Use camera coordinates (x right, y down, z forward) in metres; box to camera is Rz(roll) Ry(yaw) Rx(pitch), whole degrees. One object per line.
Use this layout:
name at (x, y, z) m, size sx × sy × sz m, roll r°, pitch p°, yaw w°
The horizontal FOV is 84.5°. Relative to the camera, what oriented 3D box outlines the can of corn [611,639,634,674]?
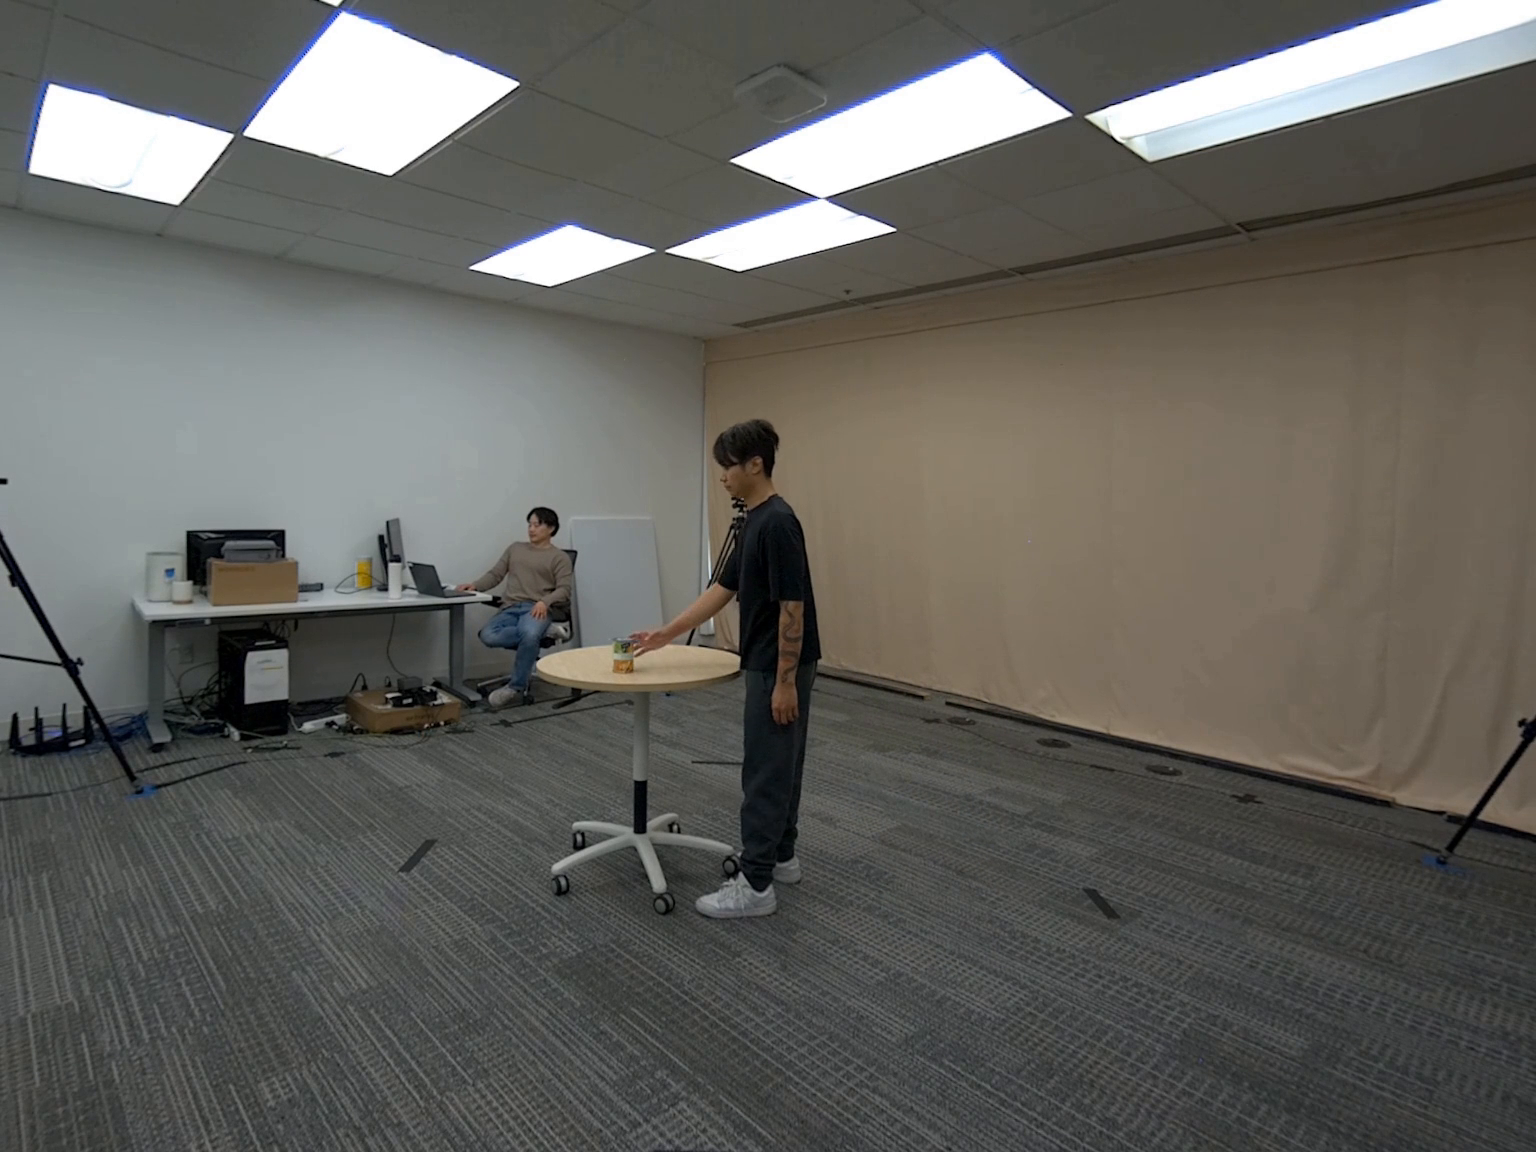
can of corn at (-0.505, 0.274, 2.925) m, size 0.074 × 0.111 × 0.074 m, roll -1°, pitch 4°, yaw -1°
